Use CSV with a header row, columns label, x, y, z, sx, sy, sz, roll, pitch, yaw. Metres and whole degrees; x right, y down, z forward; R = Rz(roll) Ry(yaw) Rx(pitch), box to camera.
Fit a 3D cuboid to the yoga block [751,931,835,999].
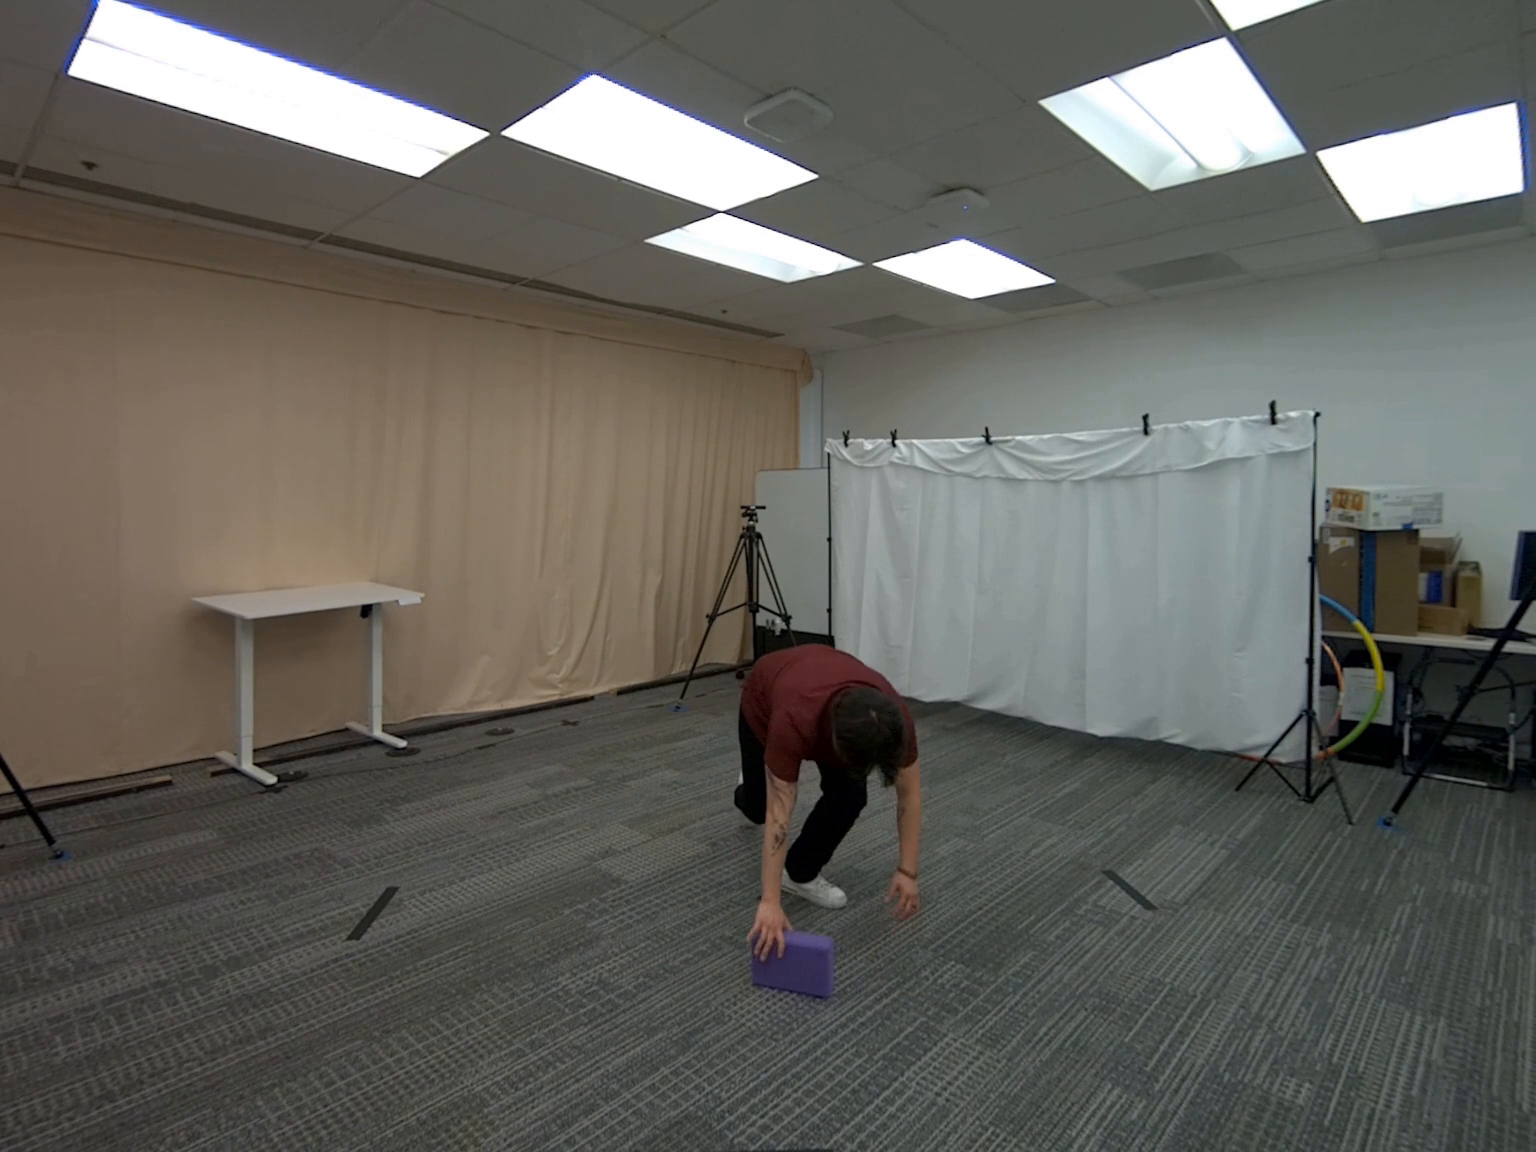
label,x,y,z,sx,sy,sz,roll,pitch,yaw
yoga block,0.076,1.104,2.443,0.234,0.148,0.075,1,4,19
